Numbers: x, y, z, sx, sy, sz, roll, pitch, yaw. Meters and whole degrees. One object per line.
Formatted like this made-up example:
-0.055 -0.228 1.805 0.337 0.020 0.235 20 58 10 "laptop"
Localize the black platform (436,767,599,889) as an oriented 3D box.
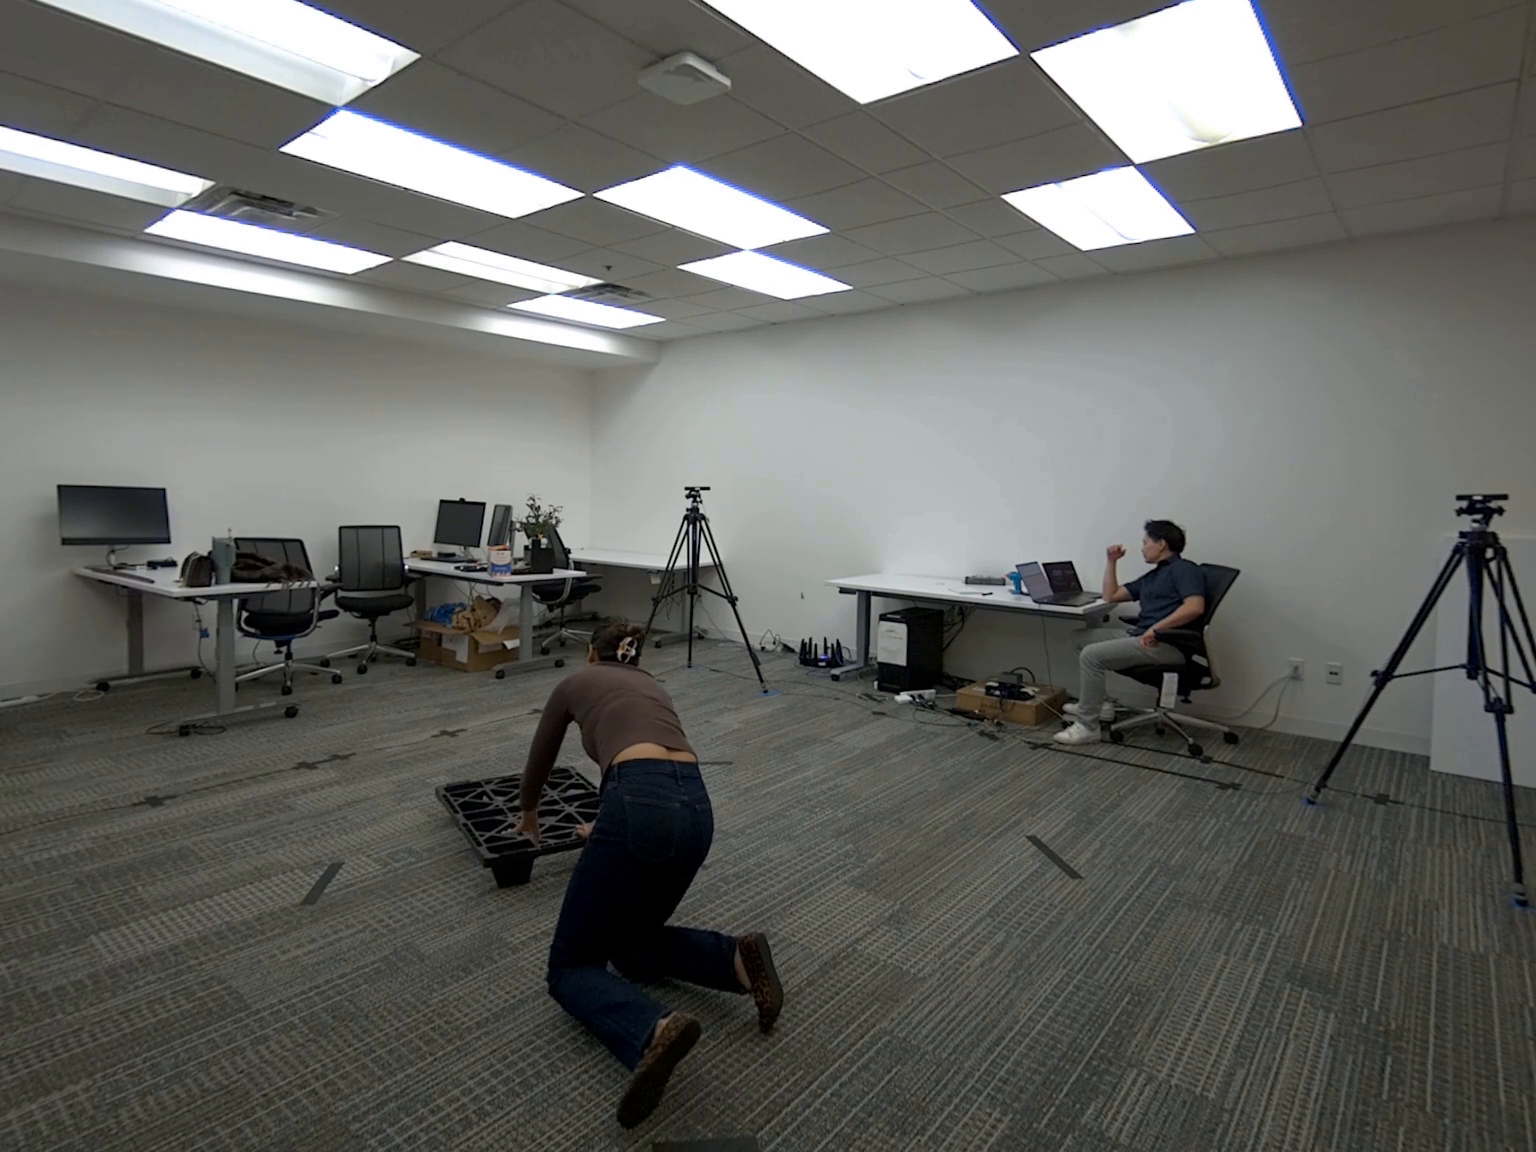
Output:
-0.938 0.966 3.348 0.589 0.143 0.831 -4 7 -32 "black platform"
